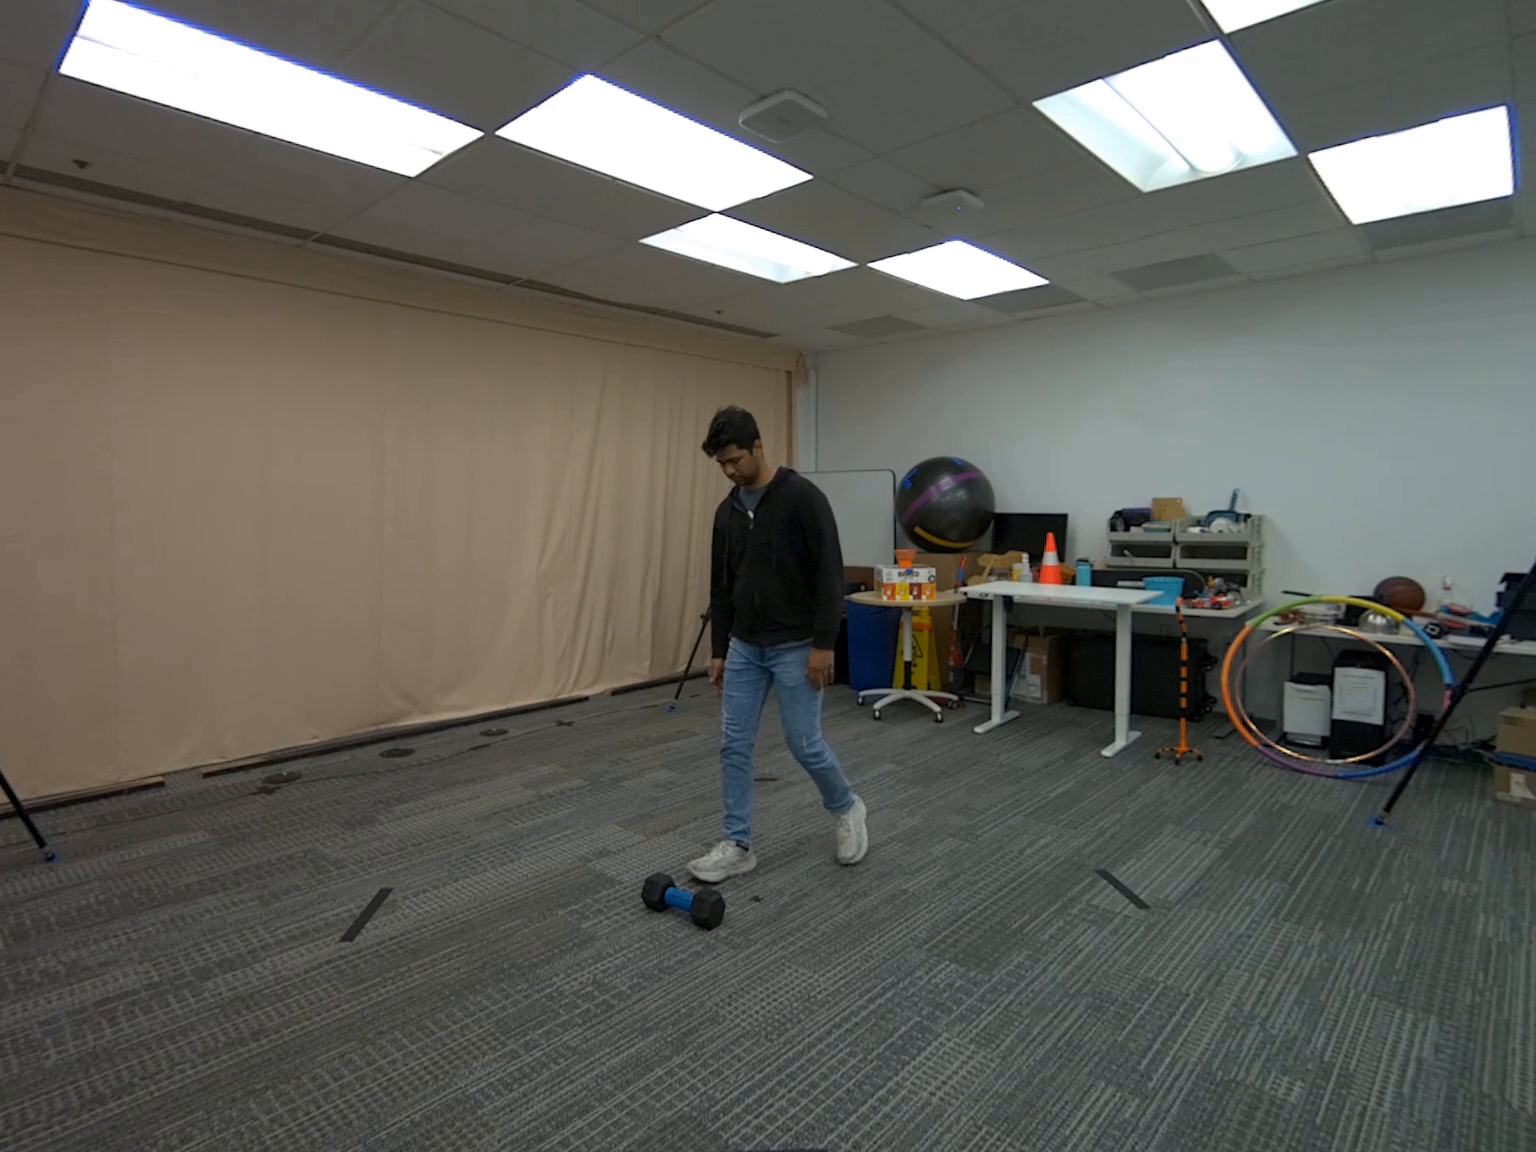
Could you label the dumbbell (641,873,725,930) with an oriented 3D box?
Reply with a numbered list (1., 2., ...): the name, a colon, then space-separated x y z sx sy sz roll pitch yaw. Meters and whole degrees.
1. dumbbell: -0.285 1.101 2.857 0.303 0.123 0.105 3 -26 35
